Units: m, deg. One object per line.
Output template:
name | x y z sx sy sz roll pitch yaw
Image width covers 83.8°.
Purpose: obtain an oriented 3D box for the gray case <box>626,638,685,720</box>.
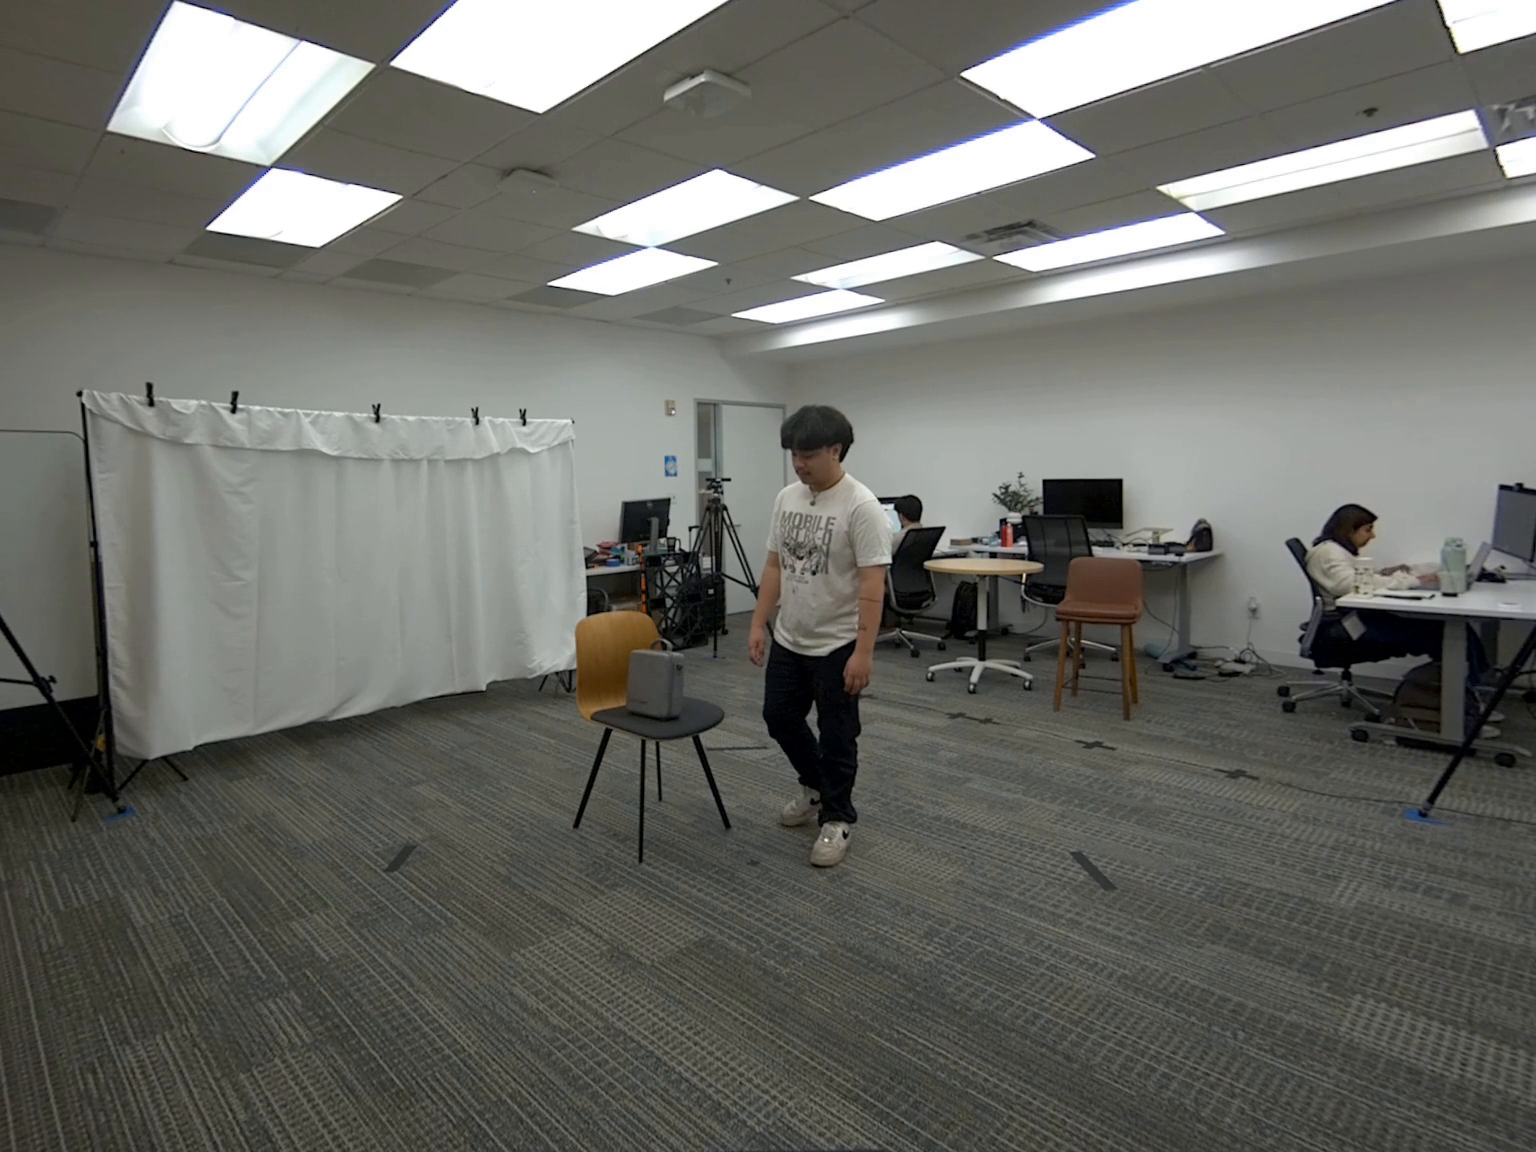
gray case | -0.442 0.415 3.352 0.101 0.262 0.264 7 -5 -43
